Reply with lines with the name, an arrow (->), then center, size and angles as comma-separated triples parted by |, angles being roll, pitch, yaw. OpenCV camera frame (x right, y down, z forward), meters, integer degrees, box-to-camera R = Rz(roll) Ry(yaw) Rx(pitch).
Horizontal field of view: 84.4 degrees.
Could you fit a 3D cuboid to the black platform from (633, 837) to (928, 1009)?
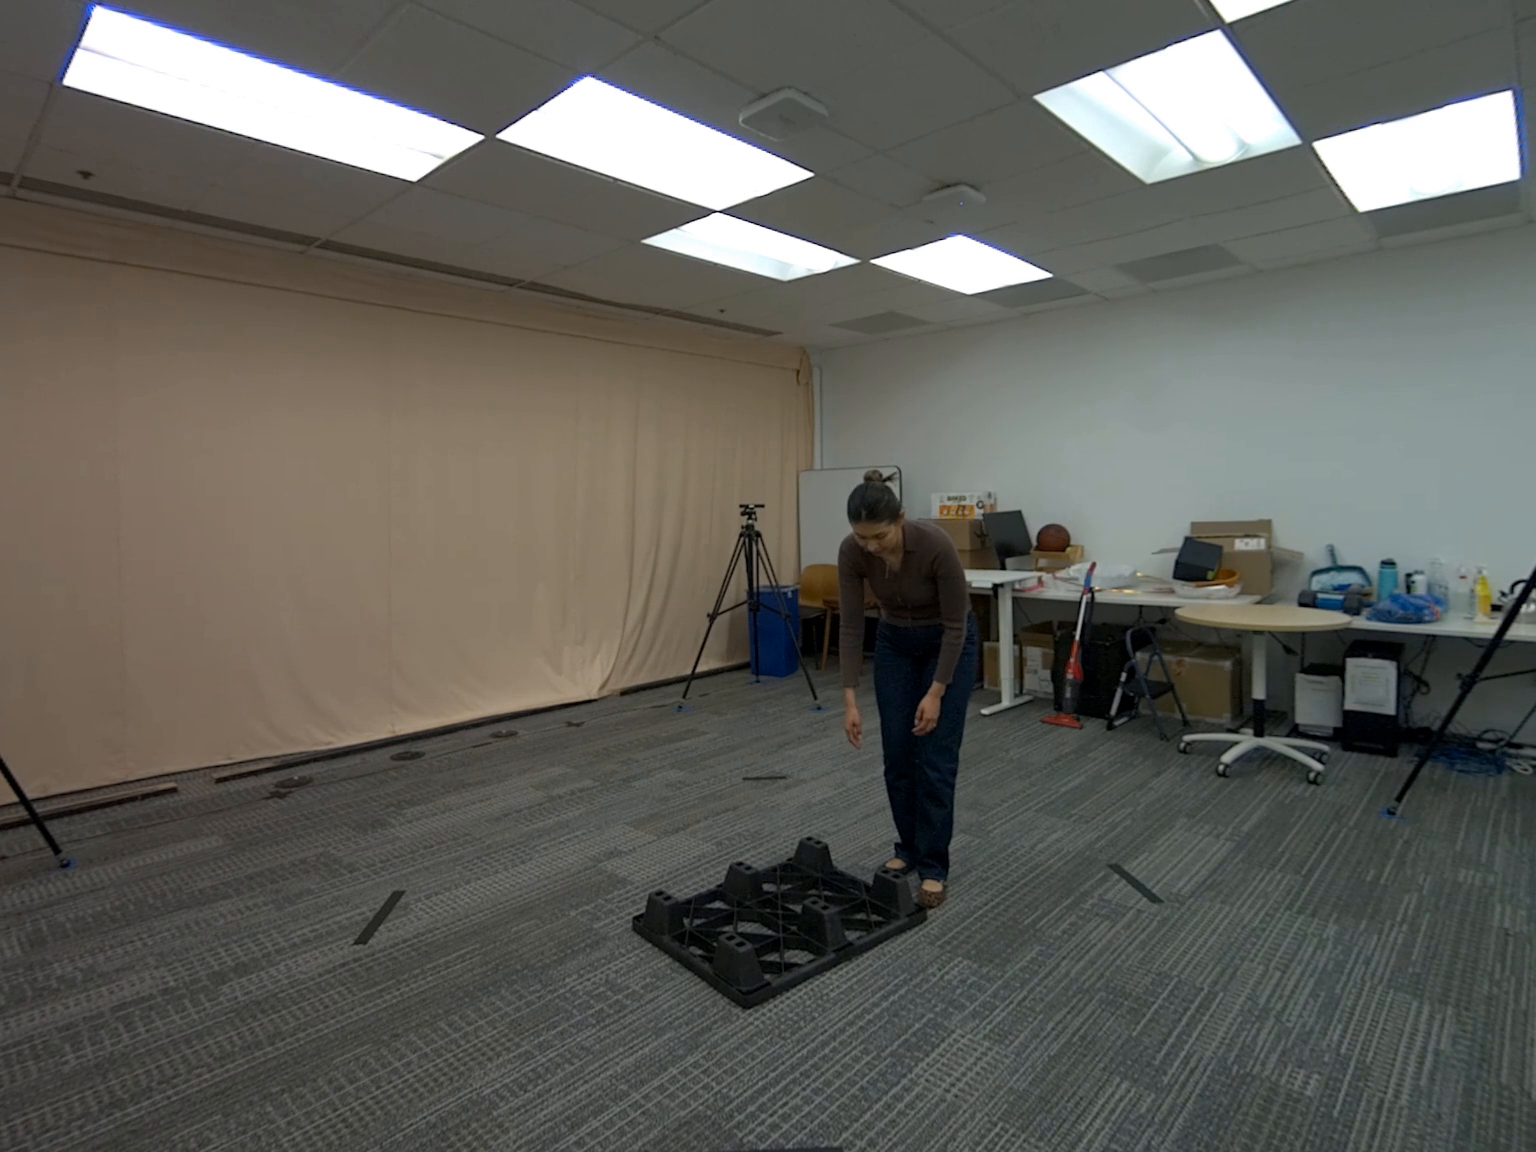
black platform -> 0.042, 1.087, 2.793 | 0.781, 0.143, 0.625 | -5, 6, -40
